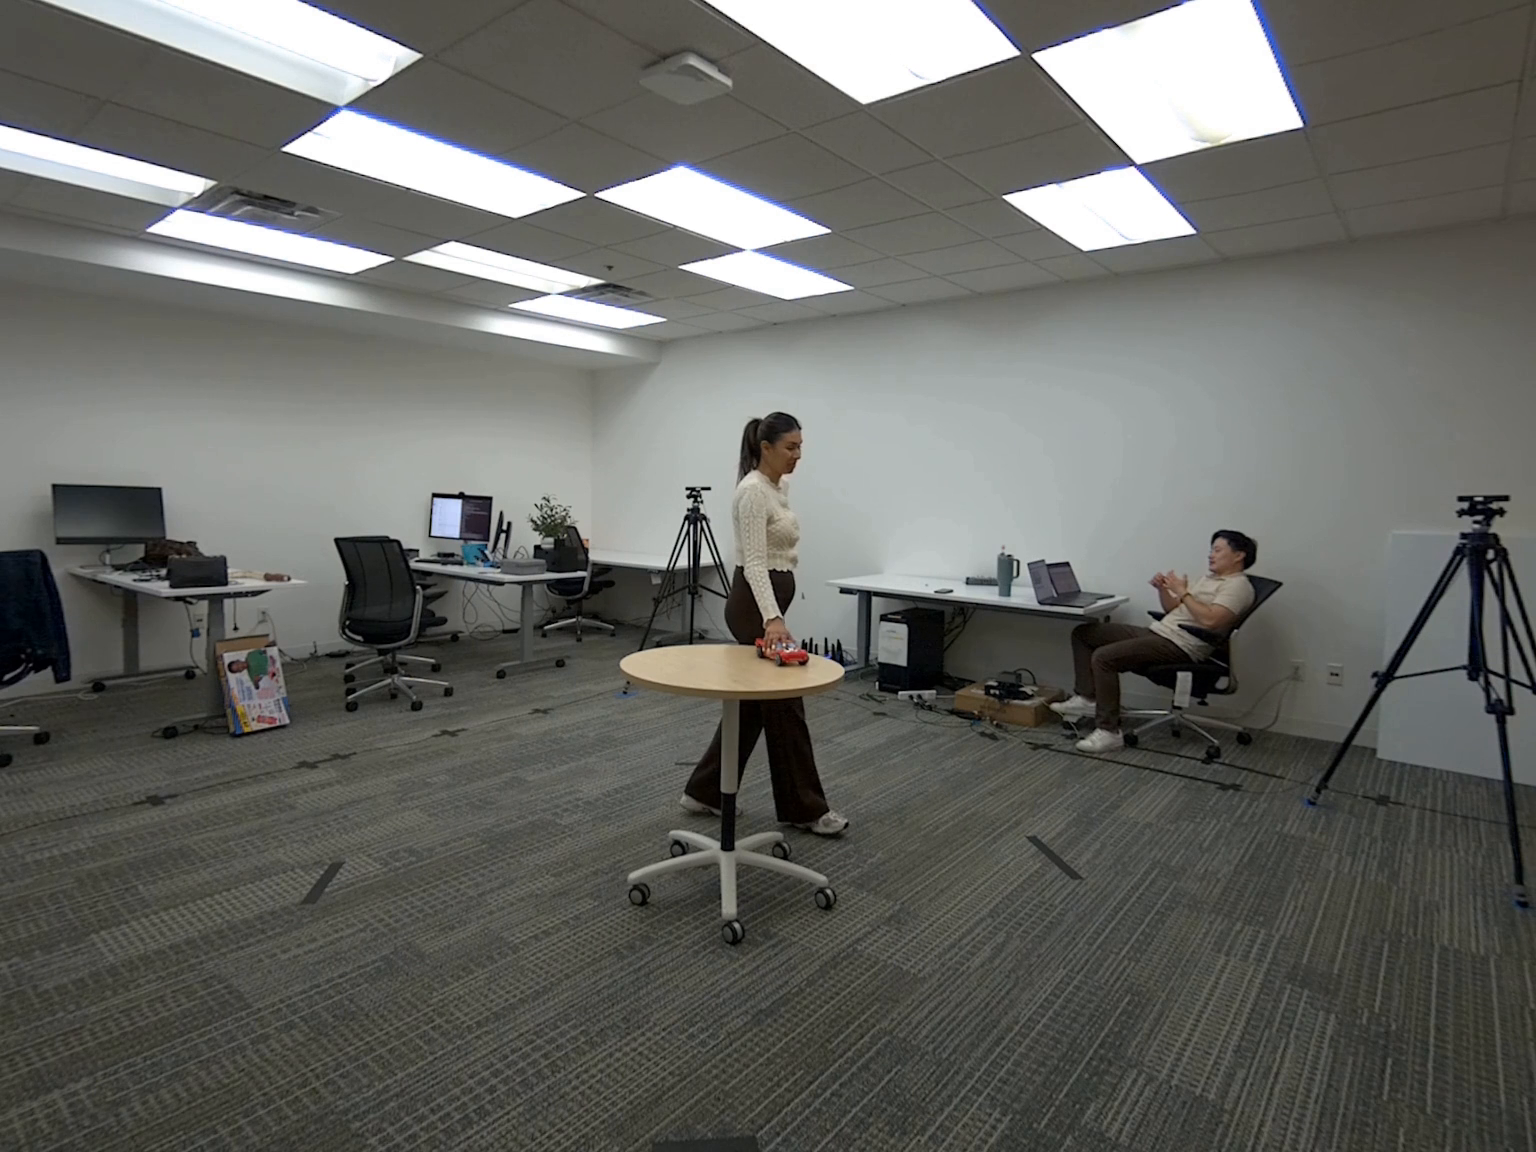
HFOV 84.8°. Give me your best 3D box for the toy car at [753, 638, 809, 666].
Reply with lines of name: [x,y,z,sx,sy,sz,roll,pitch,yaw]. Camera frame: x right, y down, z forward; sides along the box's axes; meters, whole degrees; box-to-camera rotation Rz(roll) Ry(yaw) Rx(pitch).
toy car: [0.030,0.264,3.028,0.127,0.082,0.264,0,16,-25]
